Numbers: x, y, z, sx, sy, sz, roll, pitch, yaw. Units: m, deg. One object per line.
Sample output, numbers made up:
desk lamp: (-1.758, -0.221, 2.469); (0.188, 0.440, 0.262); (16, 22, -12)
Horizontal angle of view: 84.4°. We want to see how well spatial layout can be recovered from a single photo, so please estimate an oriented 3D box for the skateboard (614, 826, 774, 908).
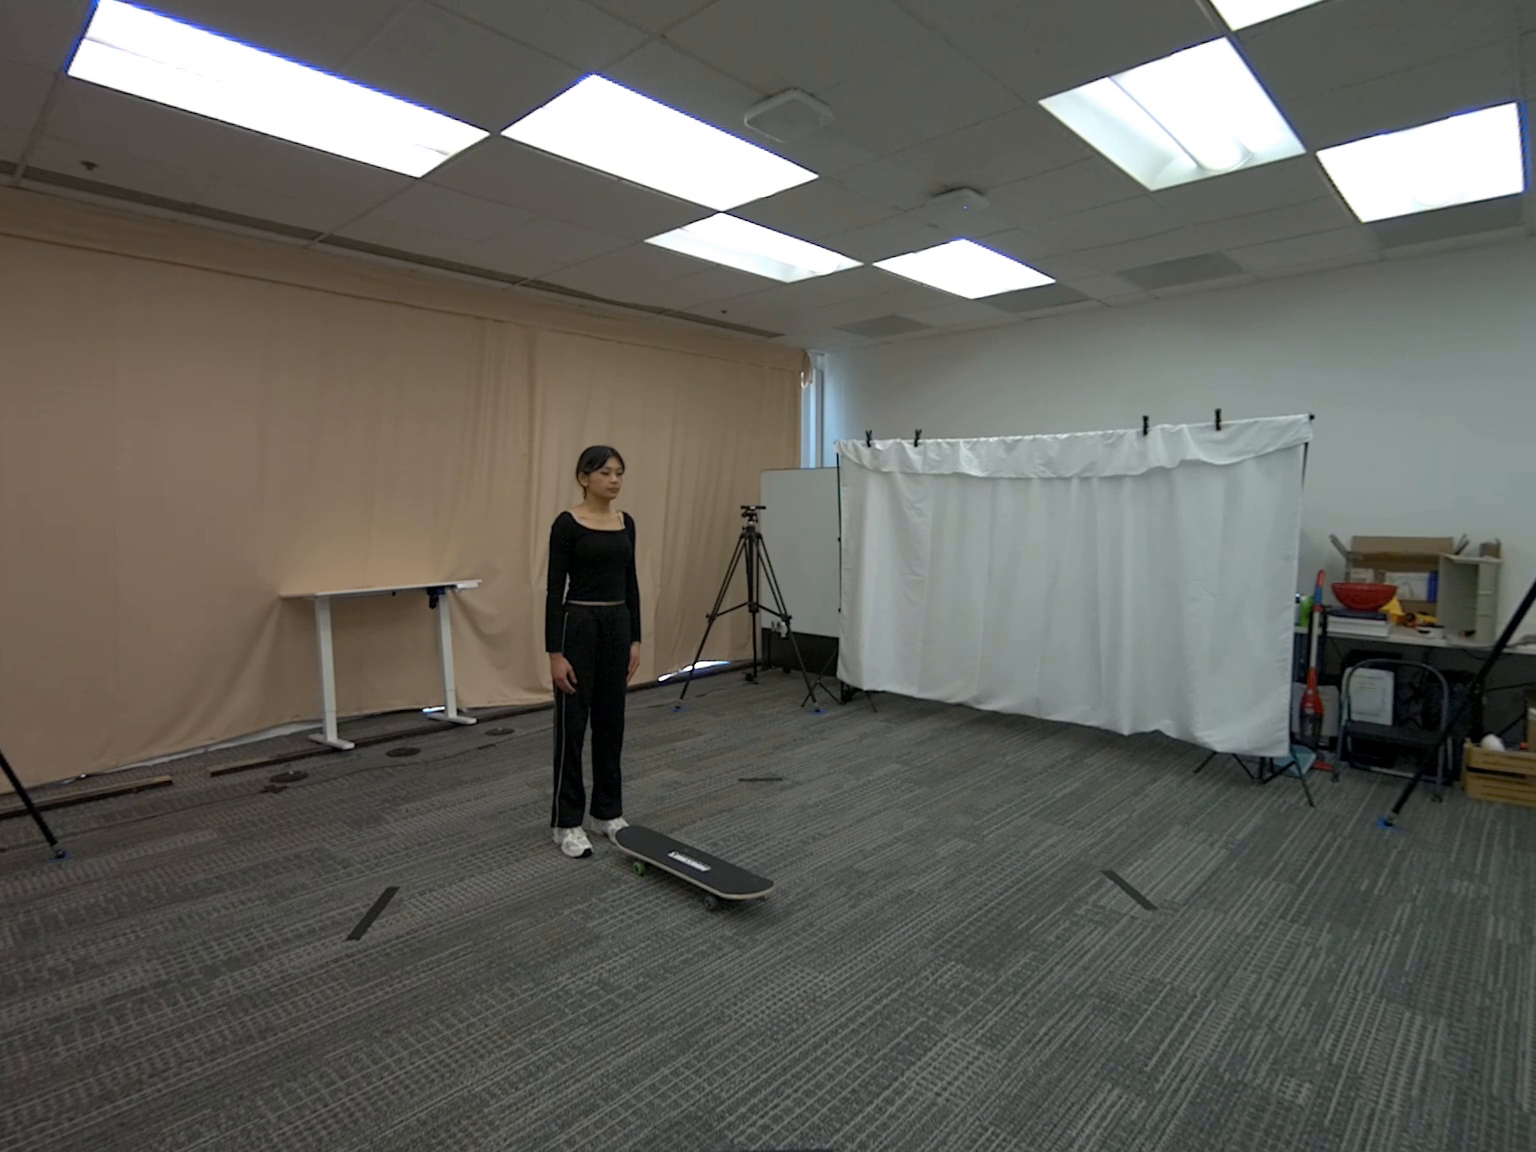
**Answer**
skateboard: (-0.287, 1.080, 3.097); (0.812, 0.110, 0.187); (4, 6, 44)
